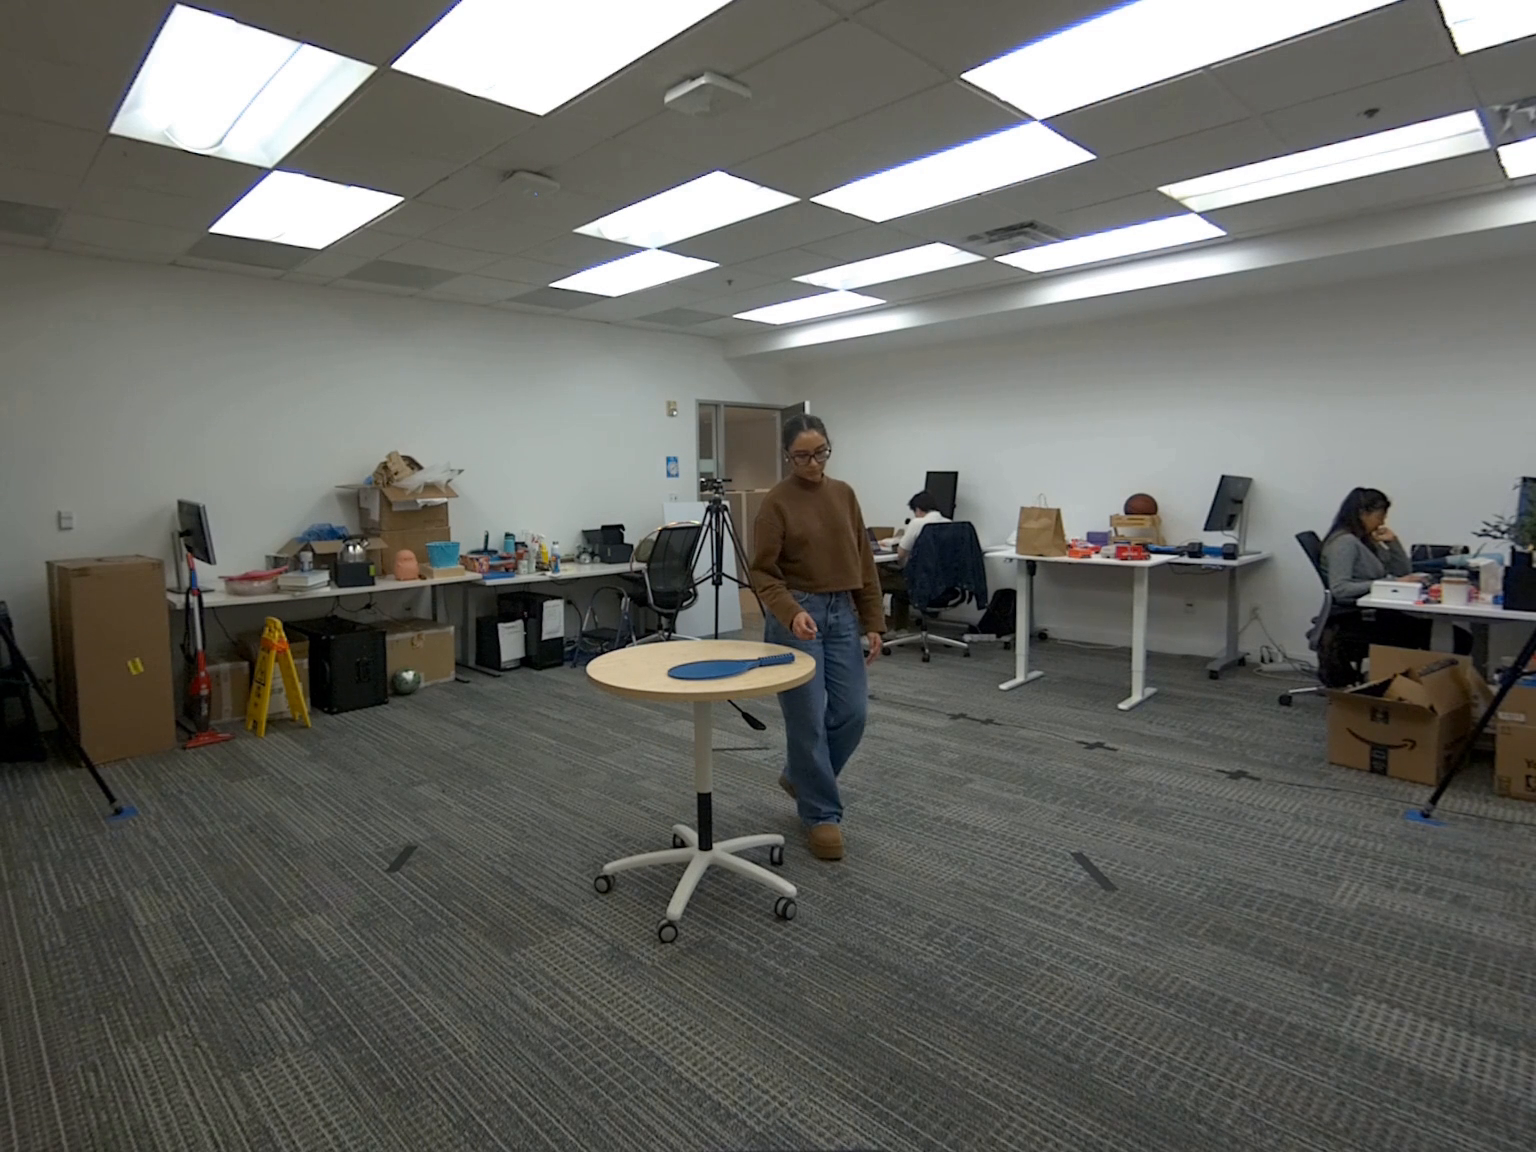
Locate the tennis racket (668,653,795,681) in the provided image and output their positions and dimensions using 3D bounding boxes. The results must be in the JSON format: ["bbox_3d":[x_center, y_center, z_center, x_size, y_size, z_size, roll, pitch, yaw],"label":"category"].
[{"bbox_3d":[-0.112,0.294,2.761,0.425,0.031,0.219,-5,8,-21],"label":"tennis racket"}]
